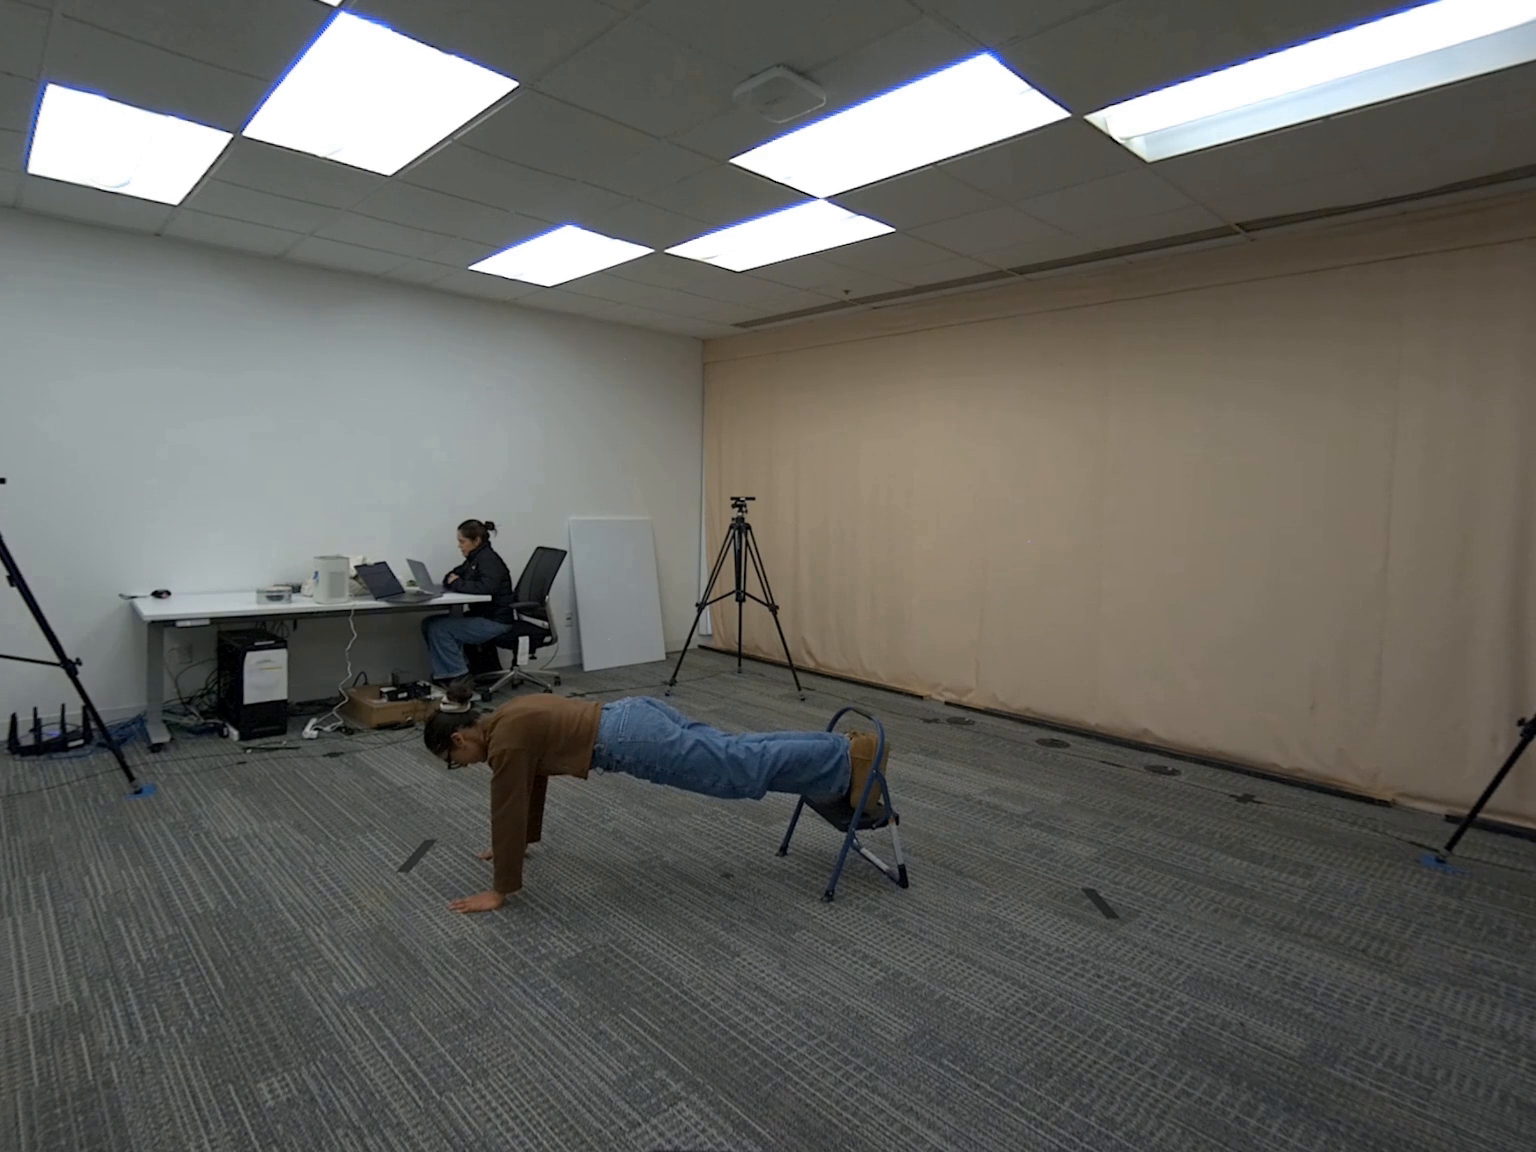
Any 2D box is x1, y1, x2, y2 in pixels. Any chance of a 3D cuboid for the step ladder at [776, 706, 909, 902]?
[{"bbox_3d":[0.276,0.813,3.155,0.343,0.604,0.439,0,4,-23],"label":"step ladder"}]
